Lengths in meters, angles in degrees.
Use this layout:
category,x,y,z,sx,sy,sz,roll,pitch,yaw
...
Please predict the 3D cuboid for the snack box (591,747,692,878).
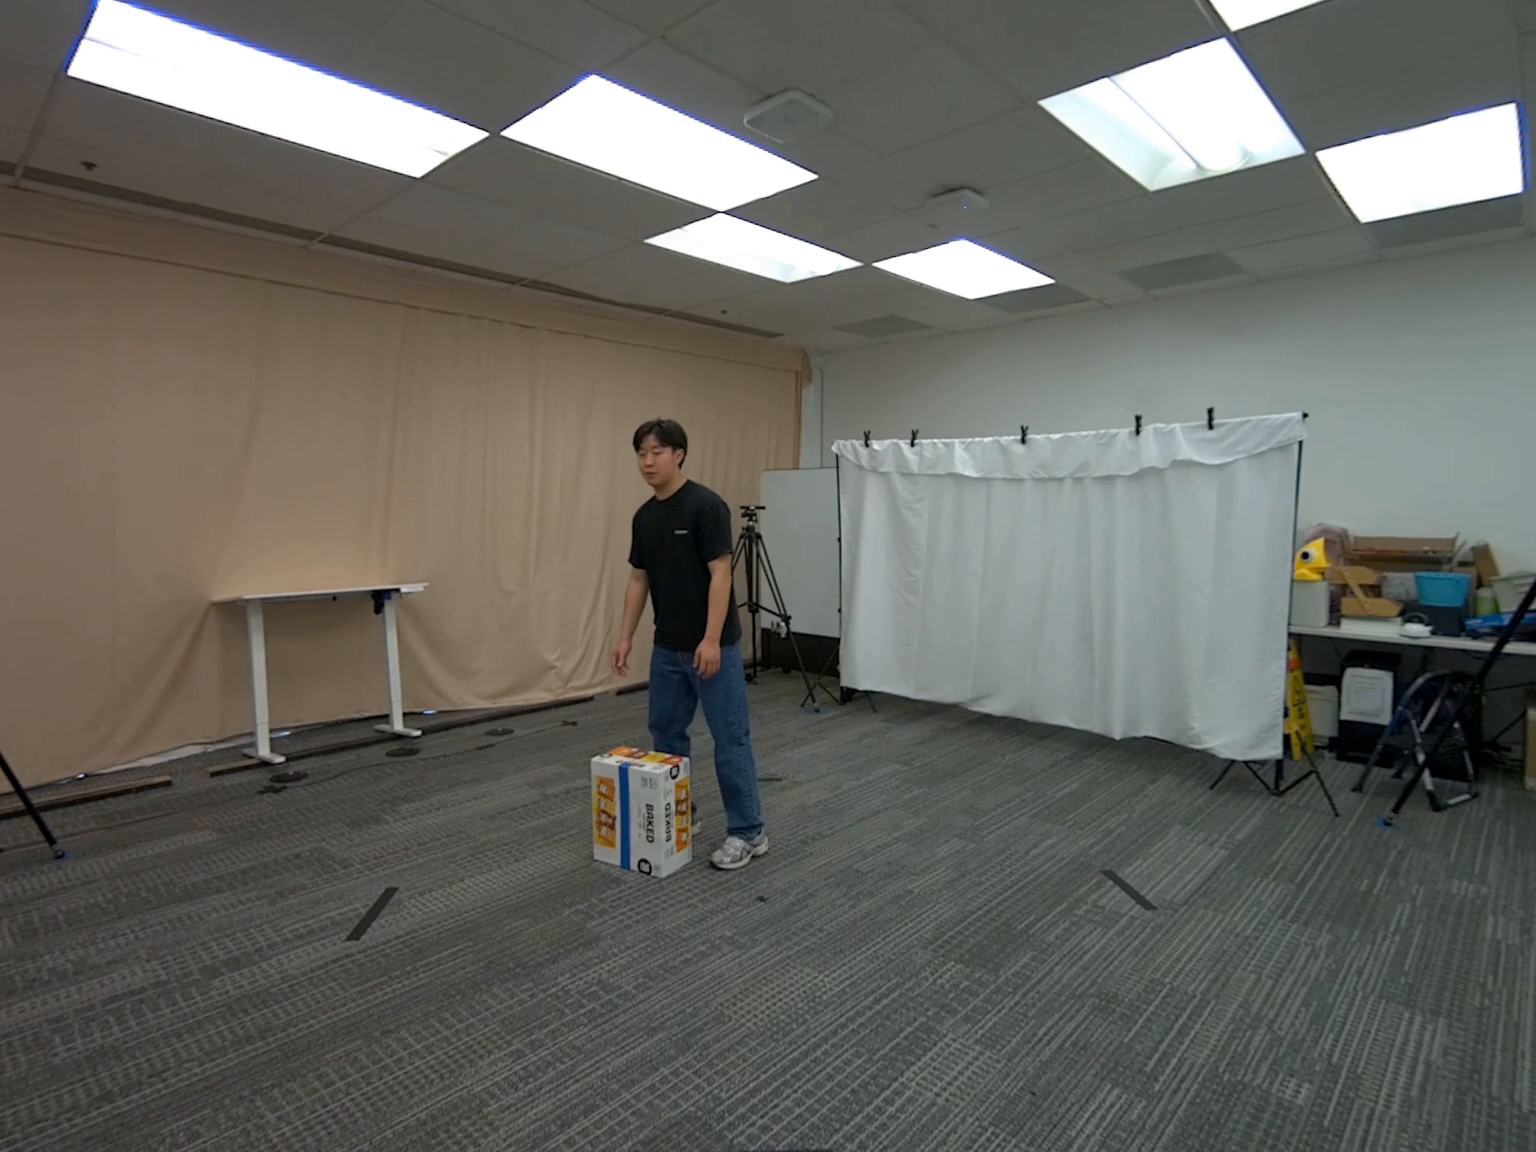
category,x,y,z,sx,sy,sz,roll,pitch,yaw
snack box,-0.495,0.917,3.313,0.350,0.404,0.200,1,4,31
